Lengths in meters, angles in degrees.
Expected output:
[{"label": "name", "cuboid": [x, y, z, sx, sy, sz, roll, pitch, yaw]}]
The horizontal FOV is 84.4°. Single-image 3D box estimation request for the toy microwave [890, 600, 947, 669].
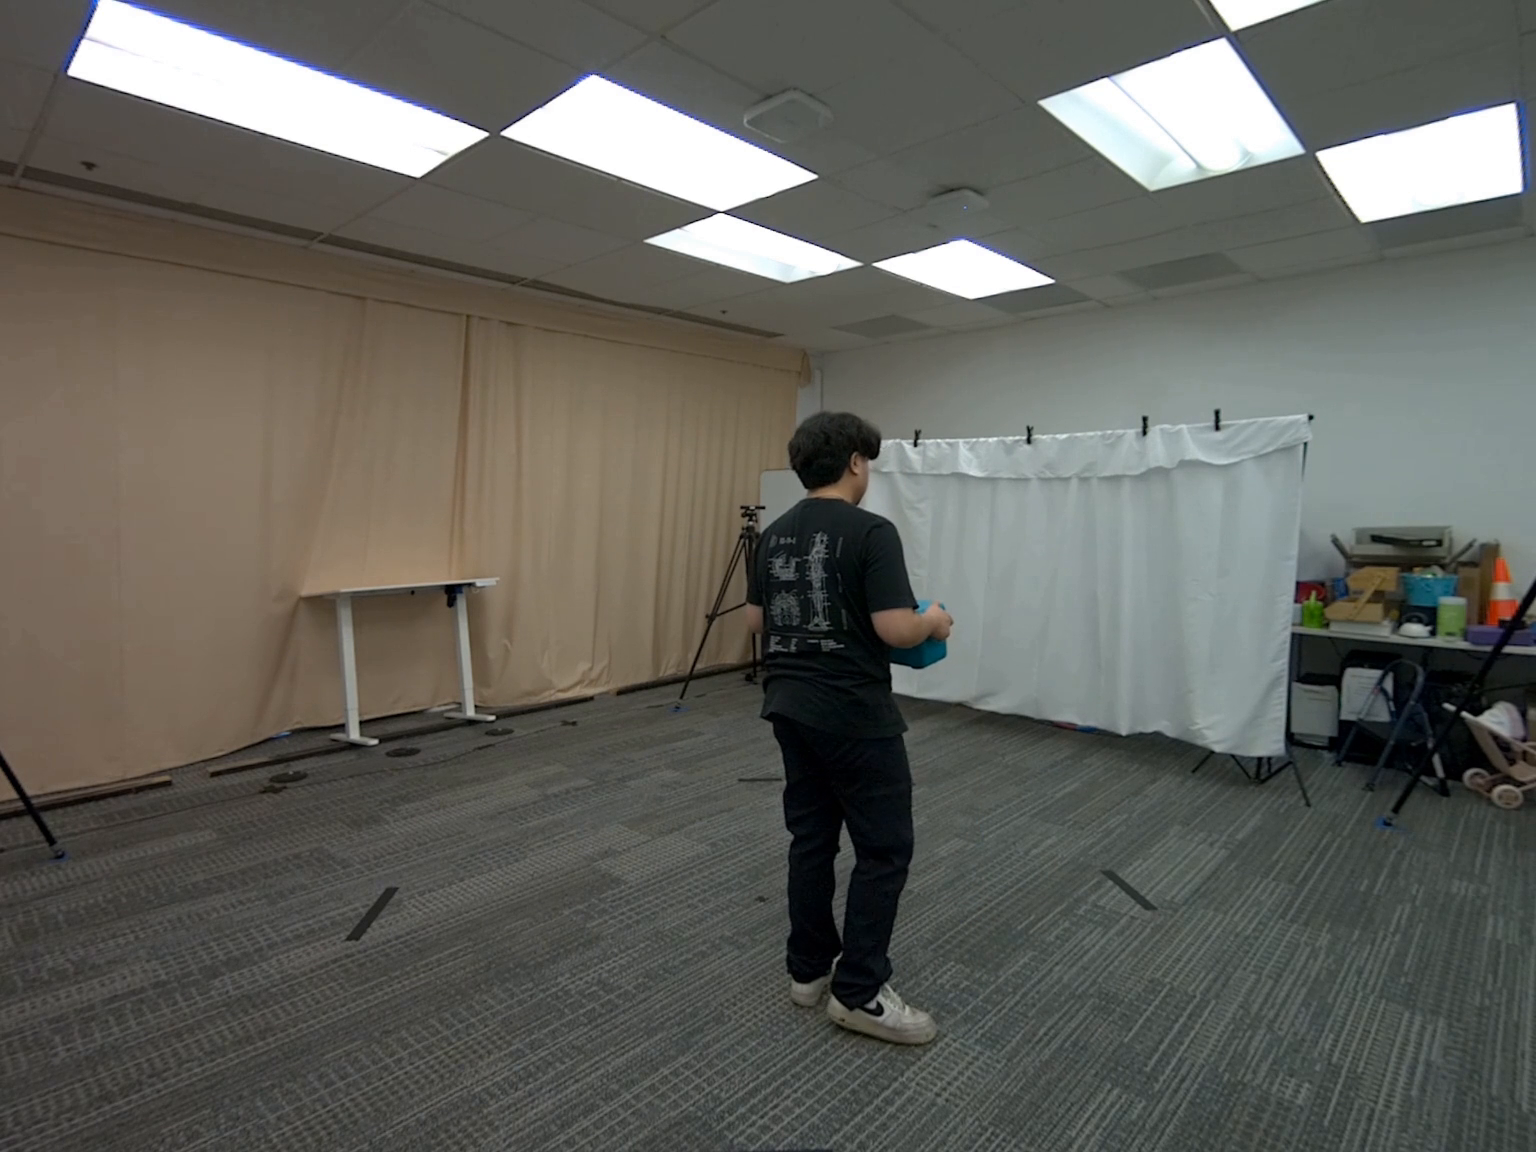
[{"label": "toy microwave", "cuboid": [0.406, 0.162, 2.545, 0.148, 0.183, 0.296, -13, 13, -43]}]
